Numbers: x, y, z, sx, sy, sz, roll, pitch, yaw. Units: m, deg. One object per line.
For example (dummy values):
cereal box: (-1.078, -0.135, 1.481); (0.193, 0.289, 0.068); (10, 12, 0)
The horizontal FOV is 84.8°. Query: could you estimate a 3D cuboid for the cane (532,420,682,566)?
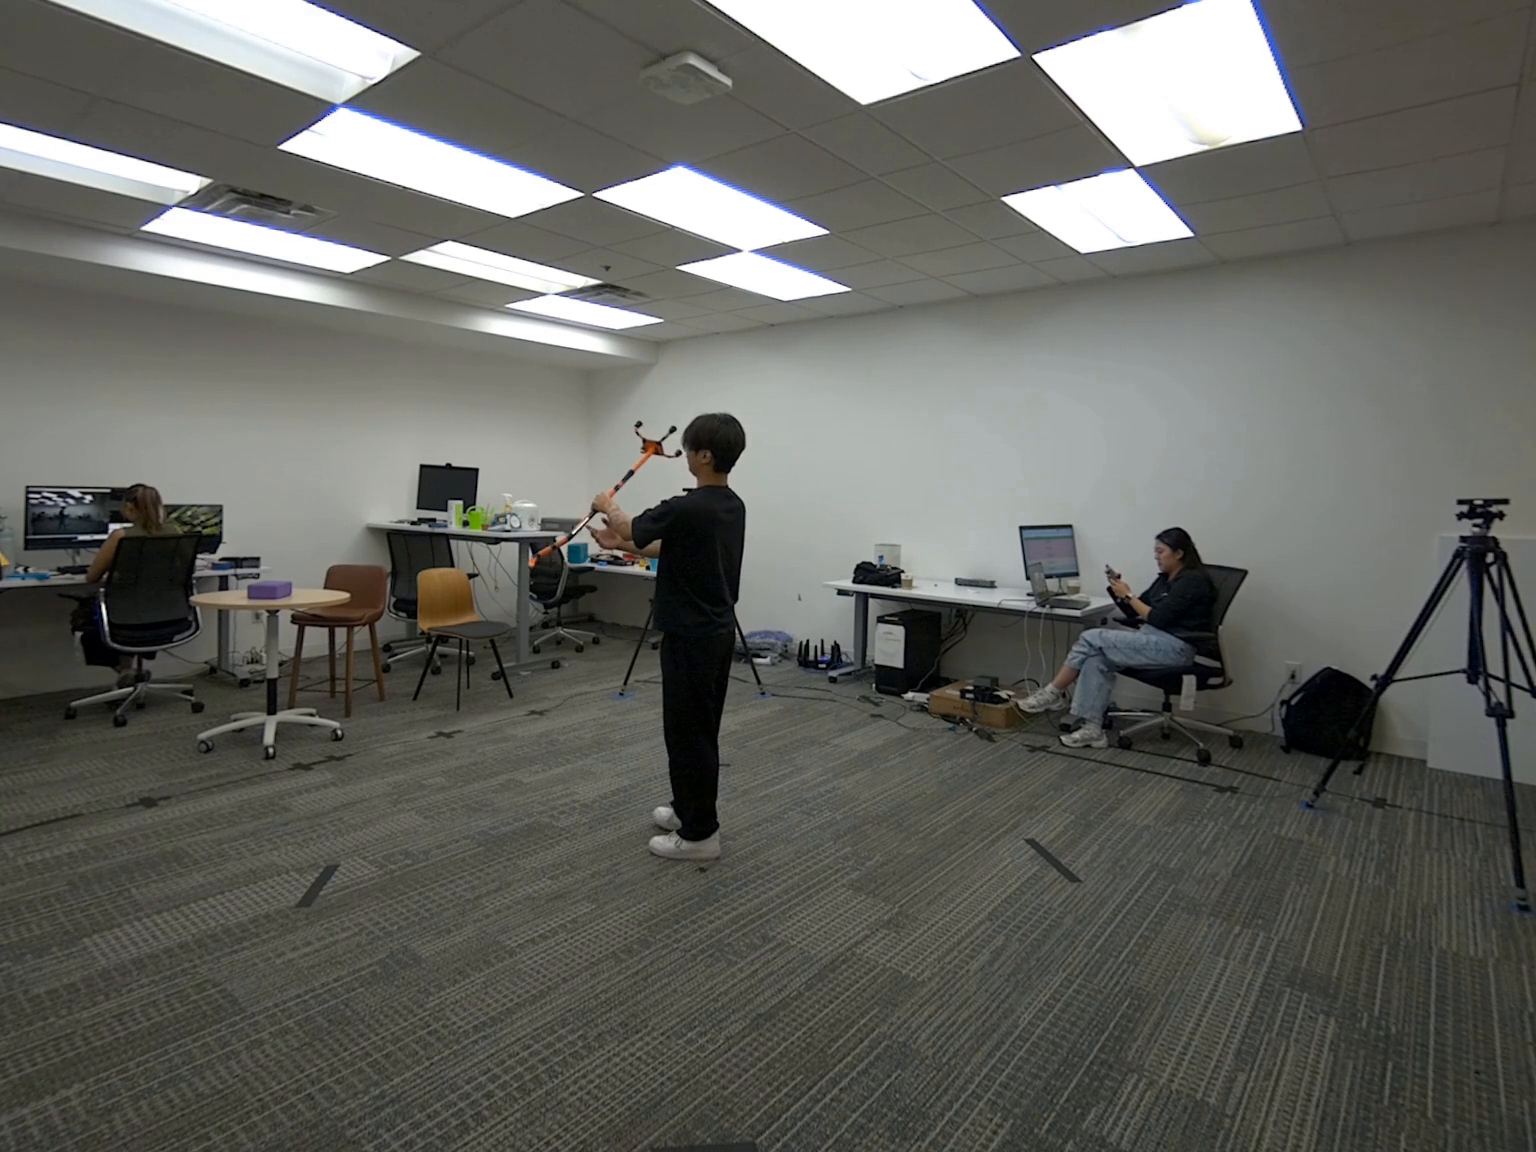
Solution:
cane: (-0.677, -0.317, 3.418); (0.212, 0.146, 0.912); (12, 45, 24)
